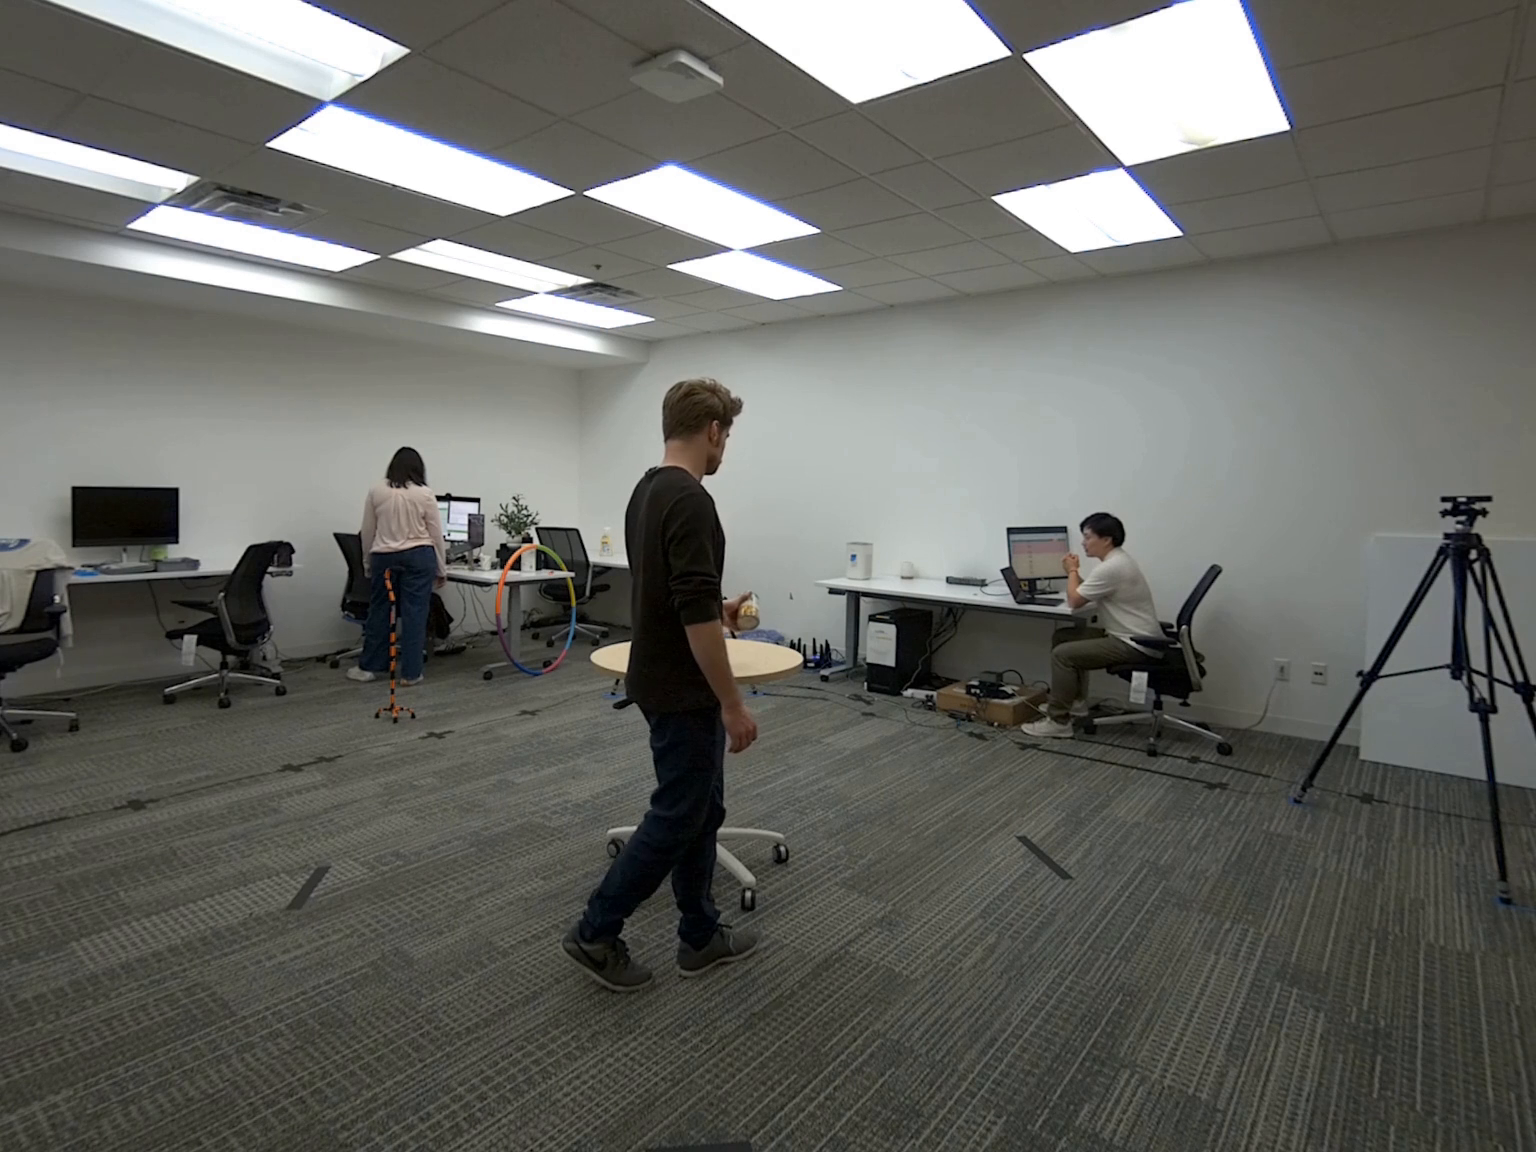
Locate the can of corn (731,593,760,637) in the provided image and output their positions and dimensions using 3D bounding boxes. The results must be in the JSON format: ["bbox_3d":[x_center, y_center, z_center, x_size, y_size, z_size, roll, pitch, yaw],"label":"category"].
[{"bbox_3d":[-0.087,0.119,2.815,0.074,0.073,0.112,1,18,1],"label":"can of corn"}]
